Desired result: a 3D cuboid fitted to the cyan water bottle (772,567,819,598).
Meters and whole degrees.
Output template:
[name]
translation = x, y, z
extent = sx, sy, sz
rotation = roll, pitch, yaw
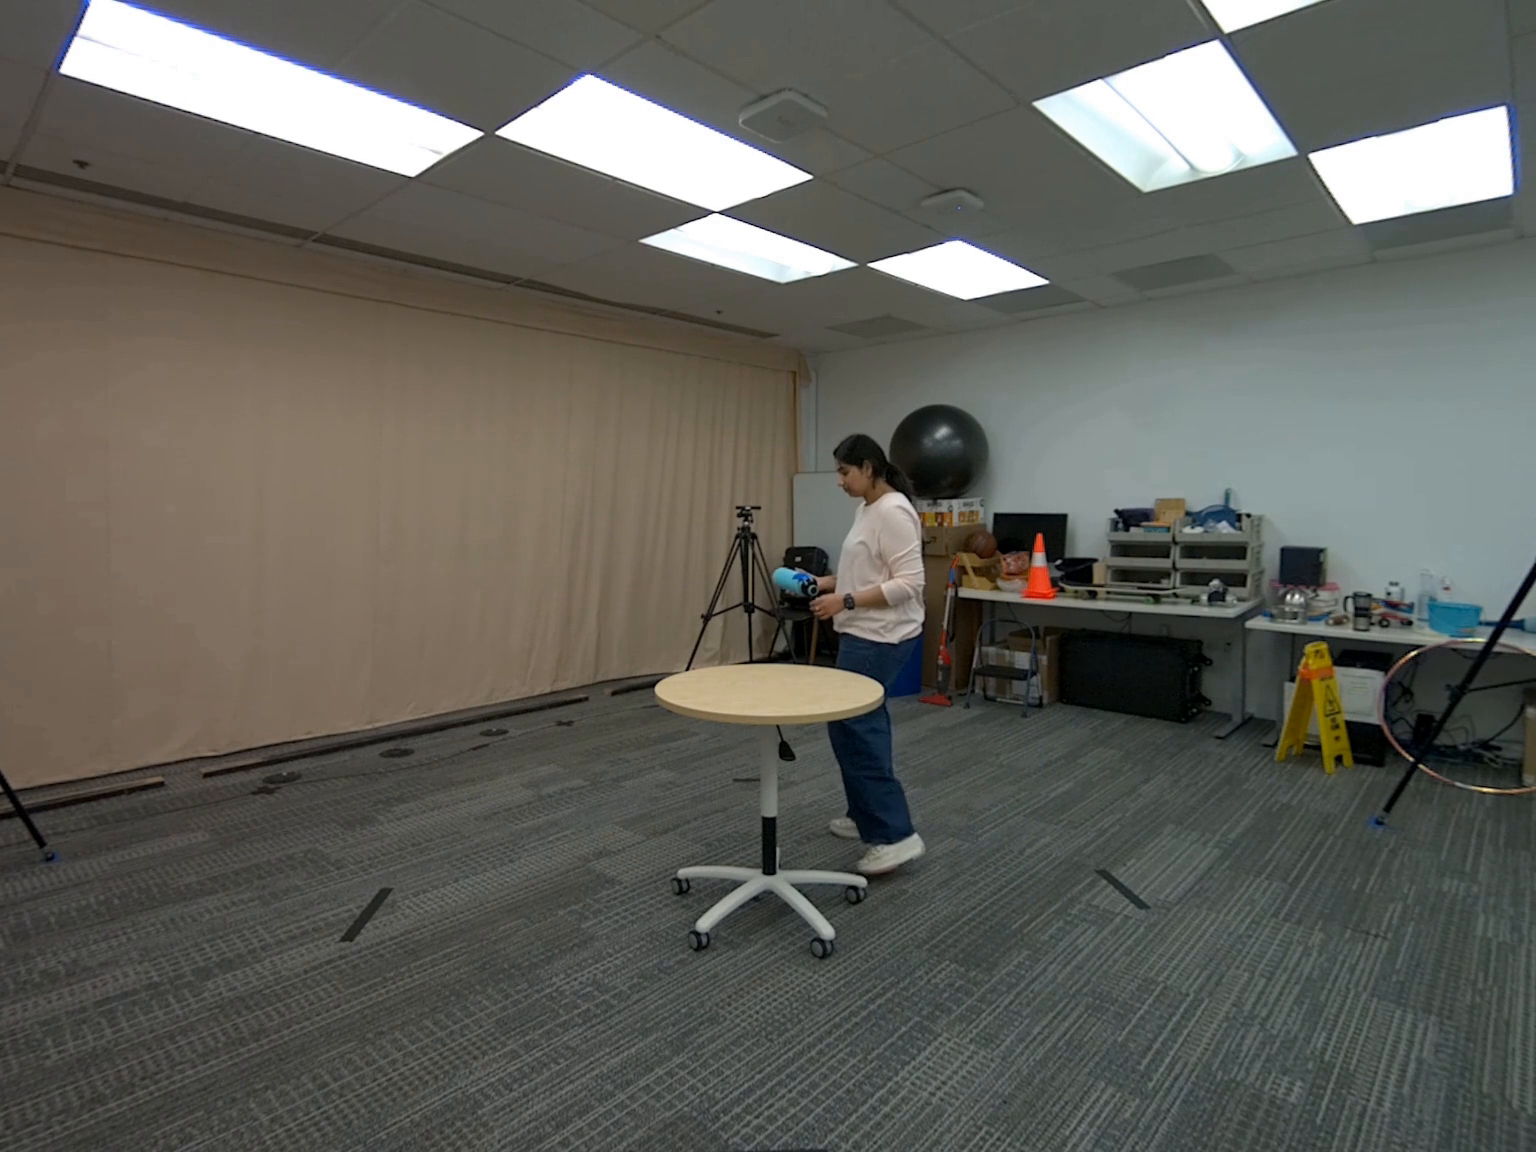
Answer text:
[cyan water bottle]
translation = 0.111, 0.030, 3.502
extent = 0.090, 0.092, 0.291
rotation = -2, 9, -22
